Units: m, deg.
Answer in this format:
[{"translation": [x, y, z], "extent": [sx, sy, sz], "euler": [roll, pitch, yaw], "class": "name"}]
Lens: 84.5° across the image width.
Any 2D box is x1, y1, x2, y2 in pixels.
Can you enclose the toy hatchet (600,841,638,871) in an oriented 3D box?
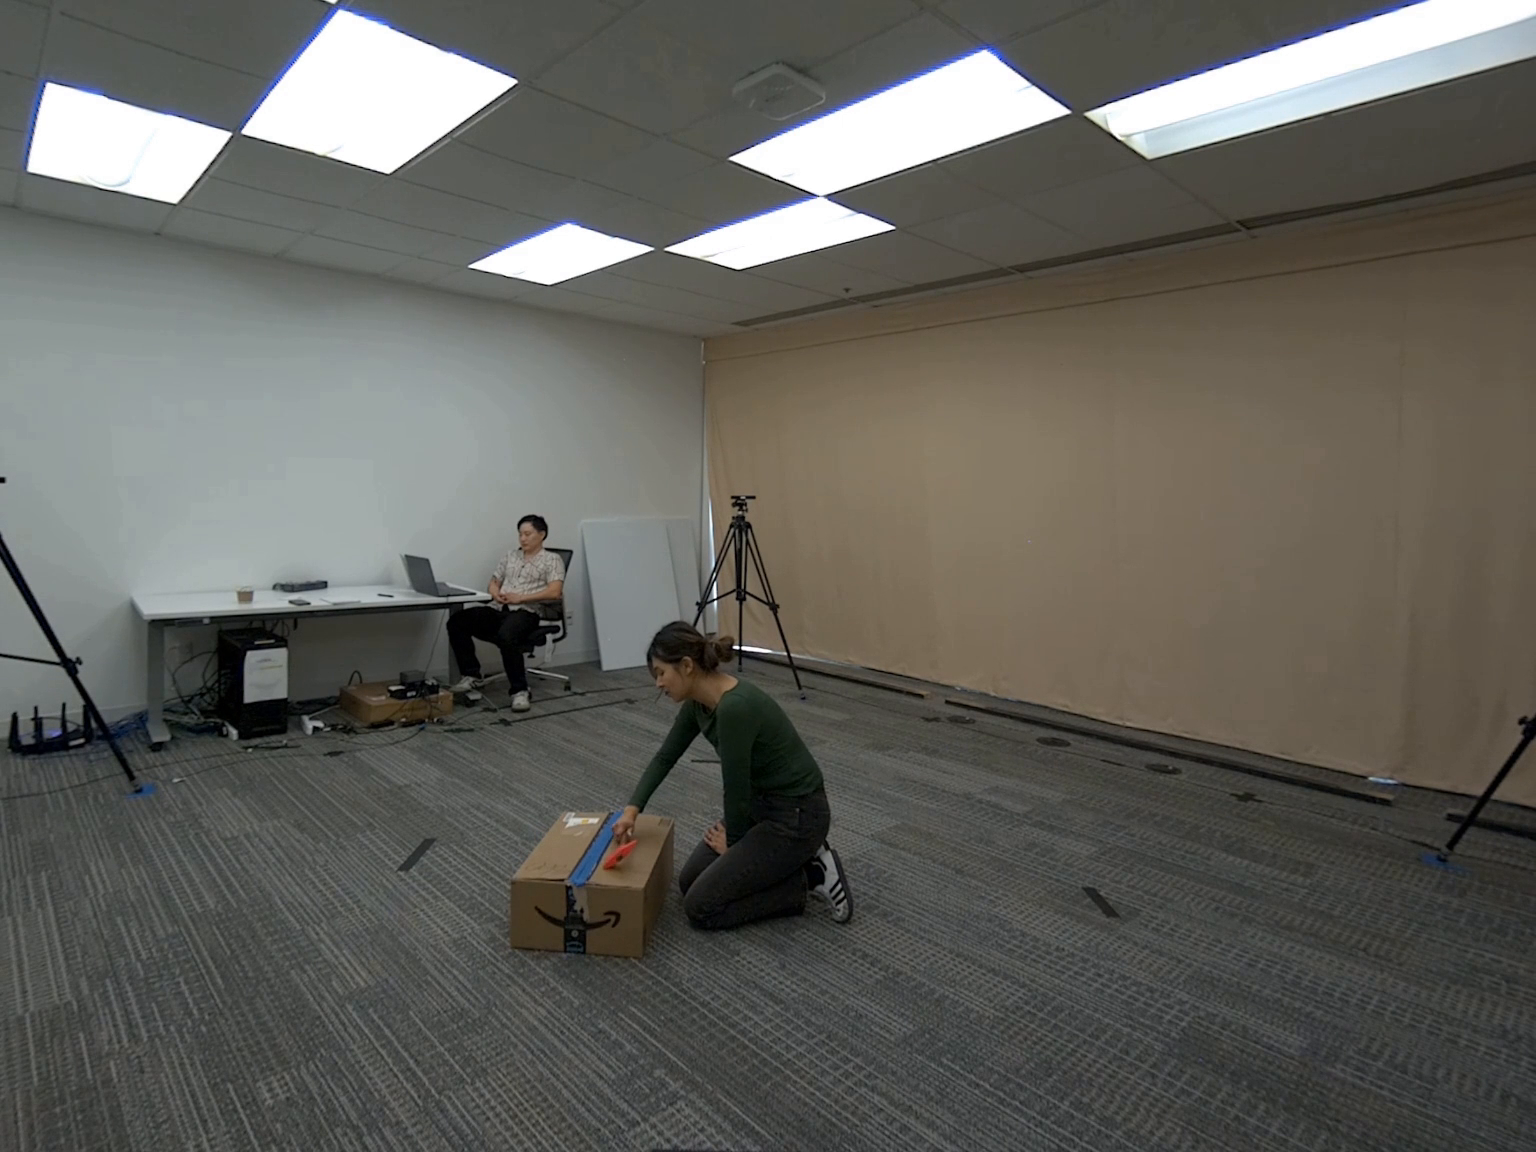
[{"translation": [-0.505, 0.880, 2.733], "extent": [0.131, 0.029, 0.272], "euler": [-44, 8, -17], "class": "toy hatchet"}]
